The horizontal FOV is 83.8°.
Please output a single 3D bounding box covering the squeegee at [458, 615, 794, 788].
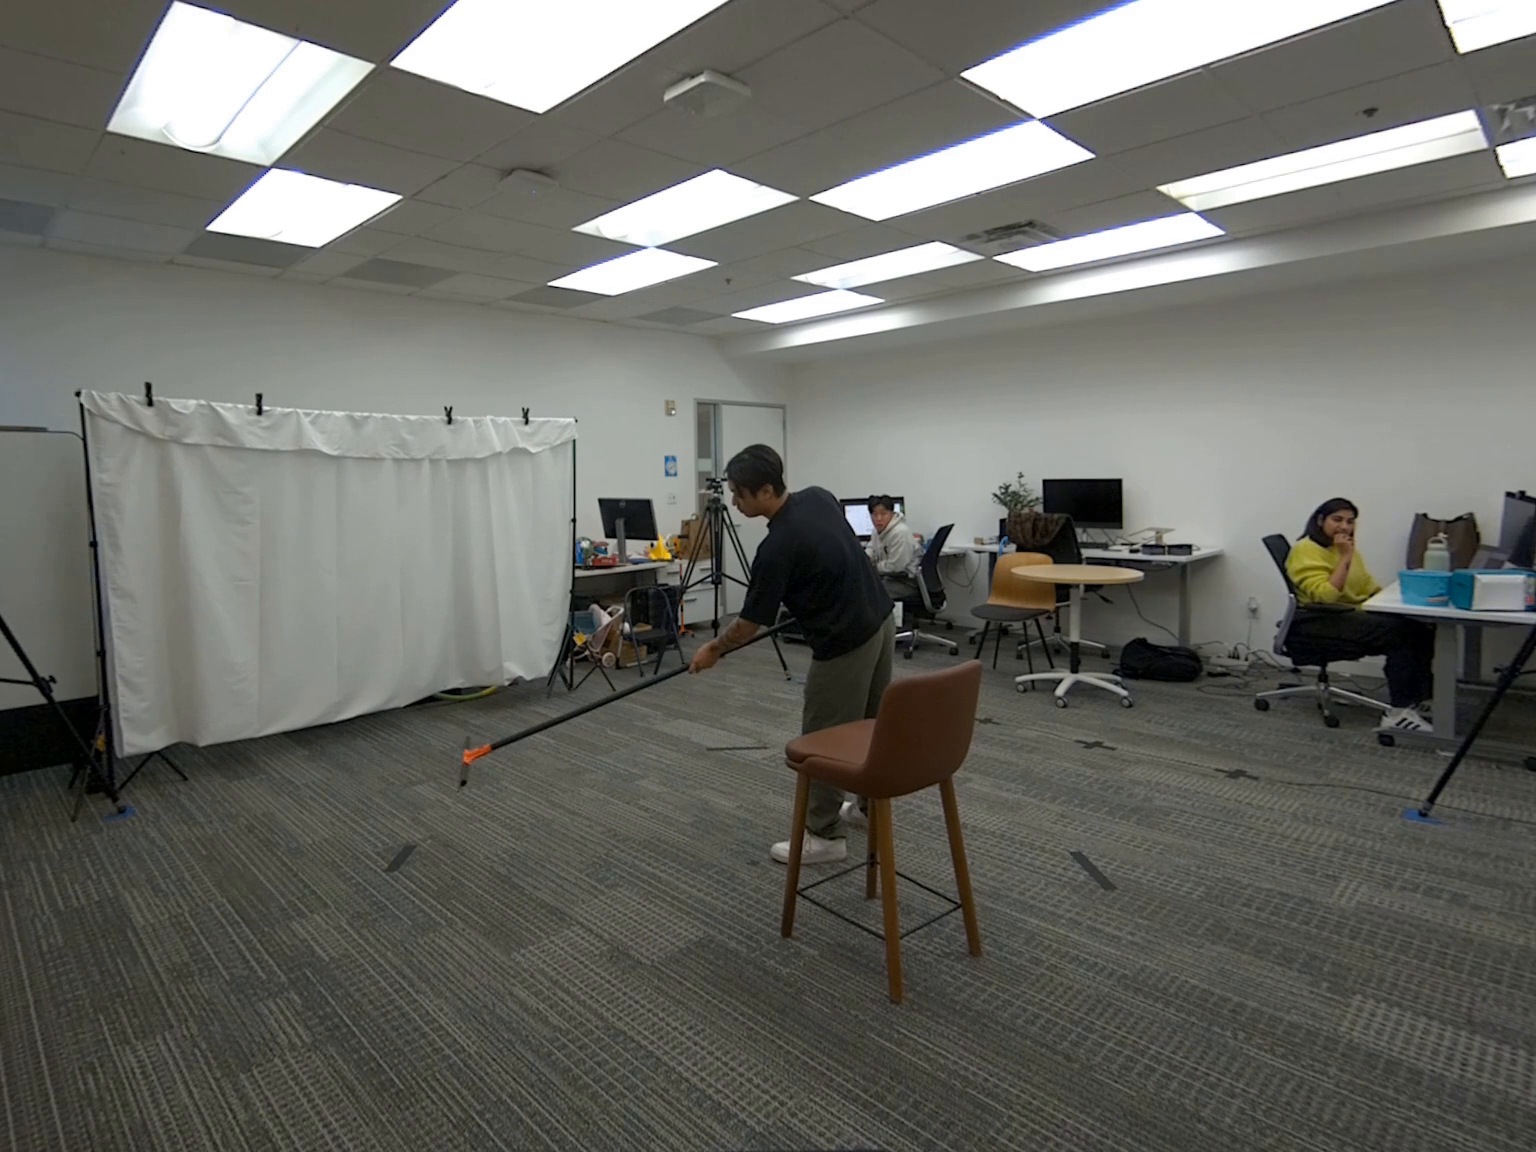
[{"bbox_3d":[-0.418,0.395,3.160,1.527,0.052,0.446,-23,12,-13],"label":"squeegee"}]
